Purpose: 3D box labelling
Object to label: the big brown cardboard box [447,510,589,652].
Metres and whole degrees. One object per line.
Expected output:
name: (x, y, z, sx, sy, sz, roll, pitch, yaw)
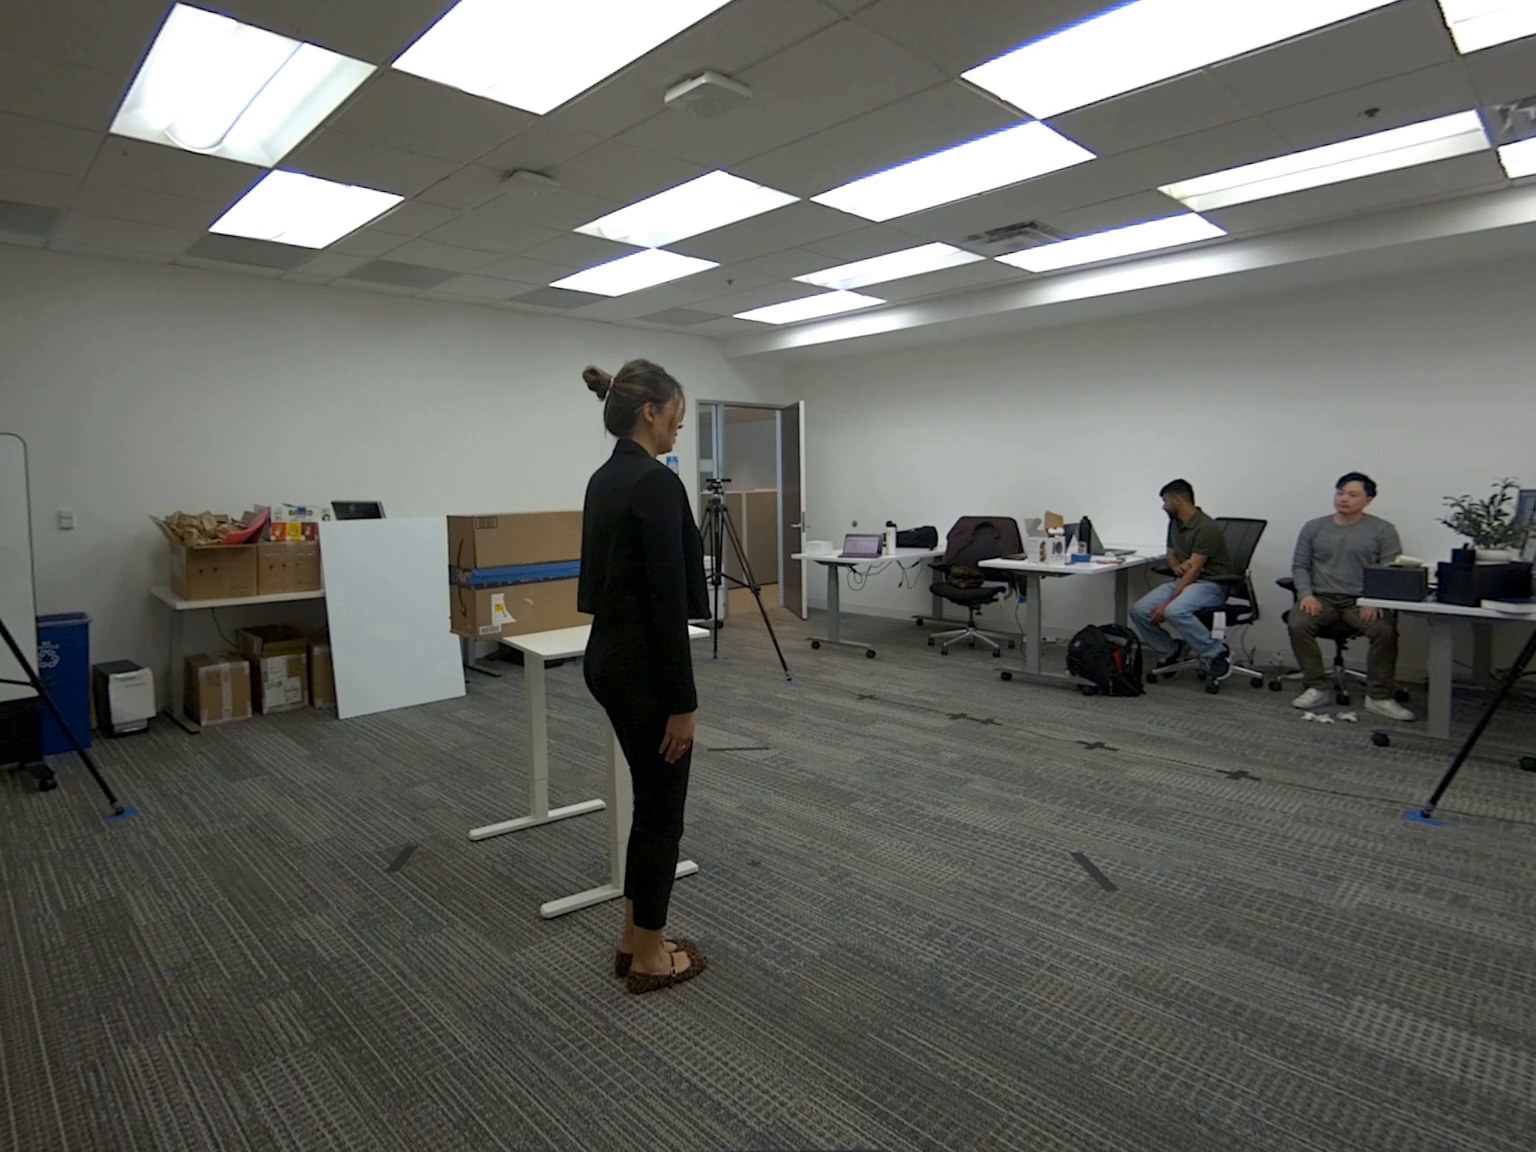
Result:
big brown cardboard box: (-0.830, -0.024, 3.057, 0.574, 0.416, 0.240, -7, 7, -42)
